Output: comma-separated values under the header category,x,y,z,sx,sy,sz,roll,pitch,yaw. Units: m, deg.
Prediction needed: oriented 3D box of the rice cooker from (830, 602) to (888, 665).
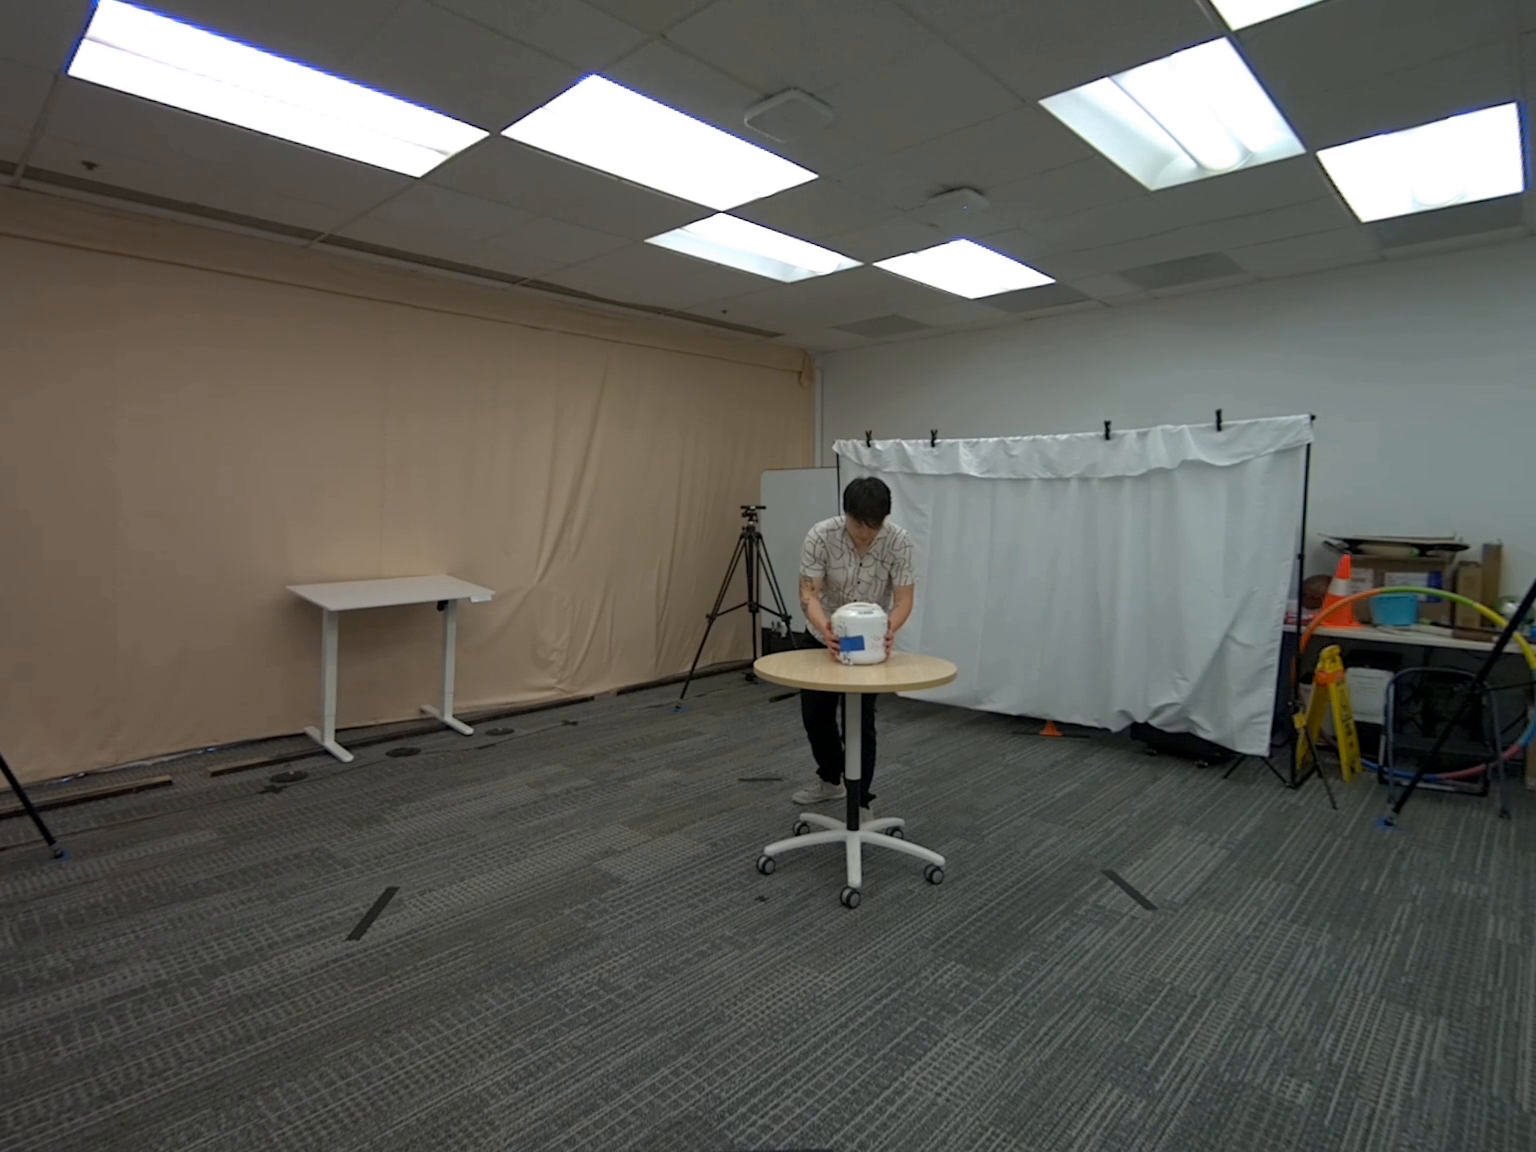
category,x,y,z,sx,sy,sz,roll,pitch,yaw
rice cooker,0.356,0.219,3.293,0.220,0.232,0.218,1,4,-3
